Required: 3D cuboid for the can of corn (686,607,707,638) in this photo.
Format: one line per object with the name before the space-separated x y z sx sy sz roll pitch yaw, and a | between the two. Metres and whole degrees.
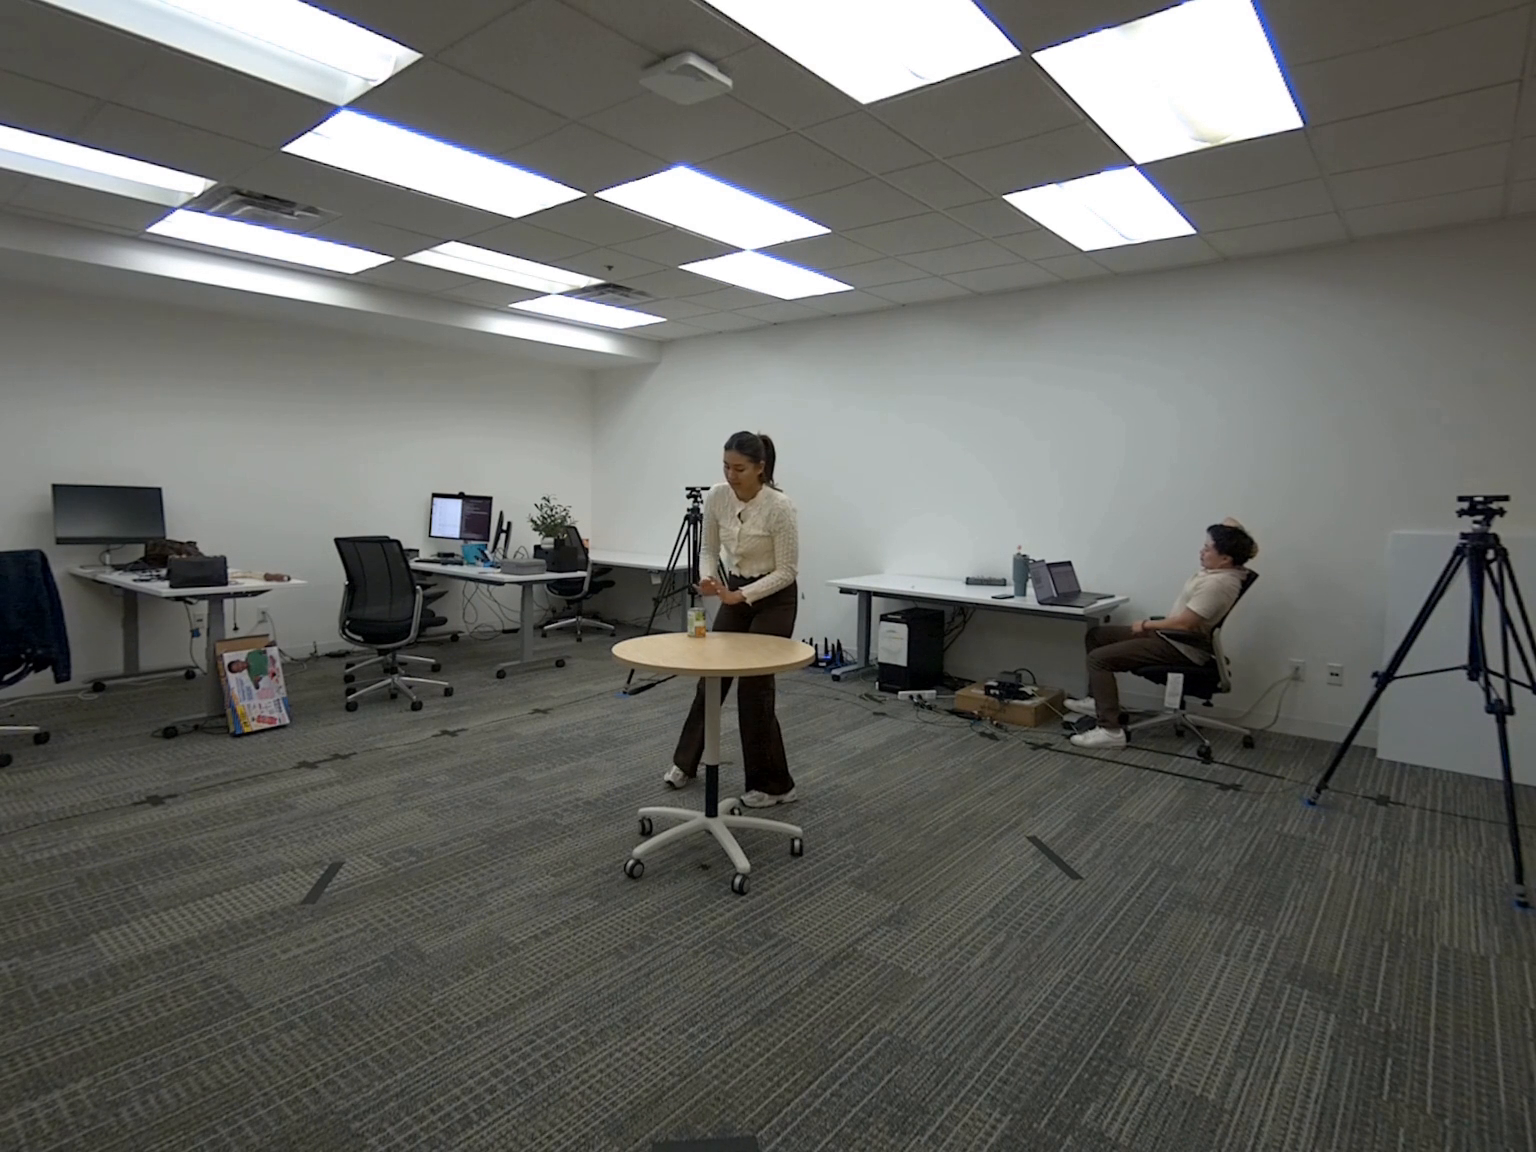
can of corn | -0.303 0.189 3.494 0.074 0.111 0.074 0 0 -2
